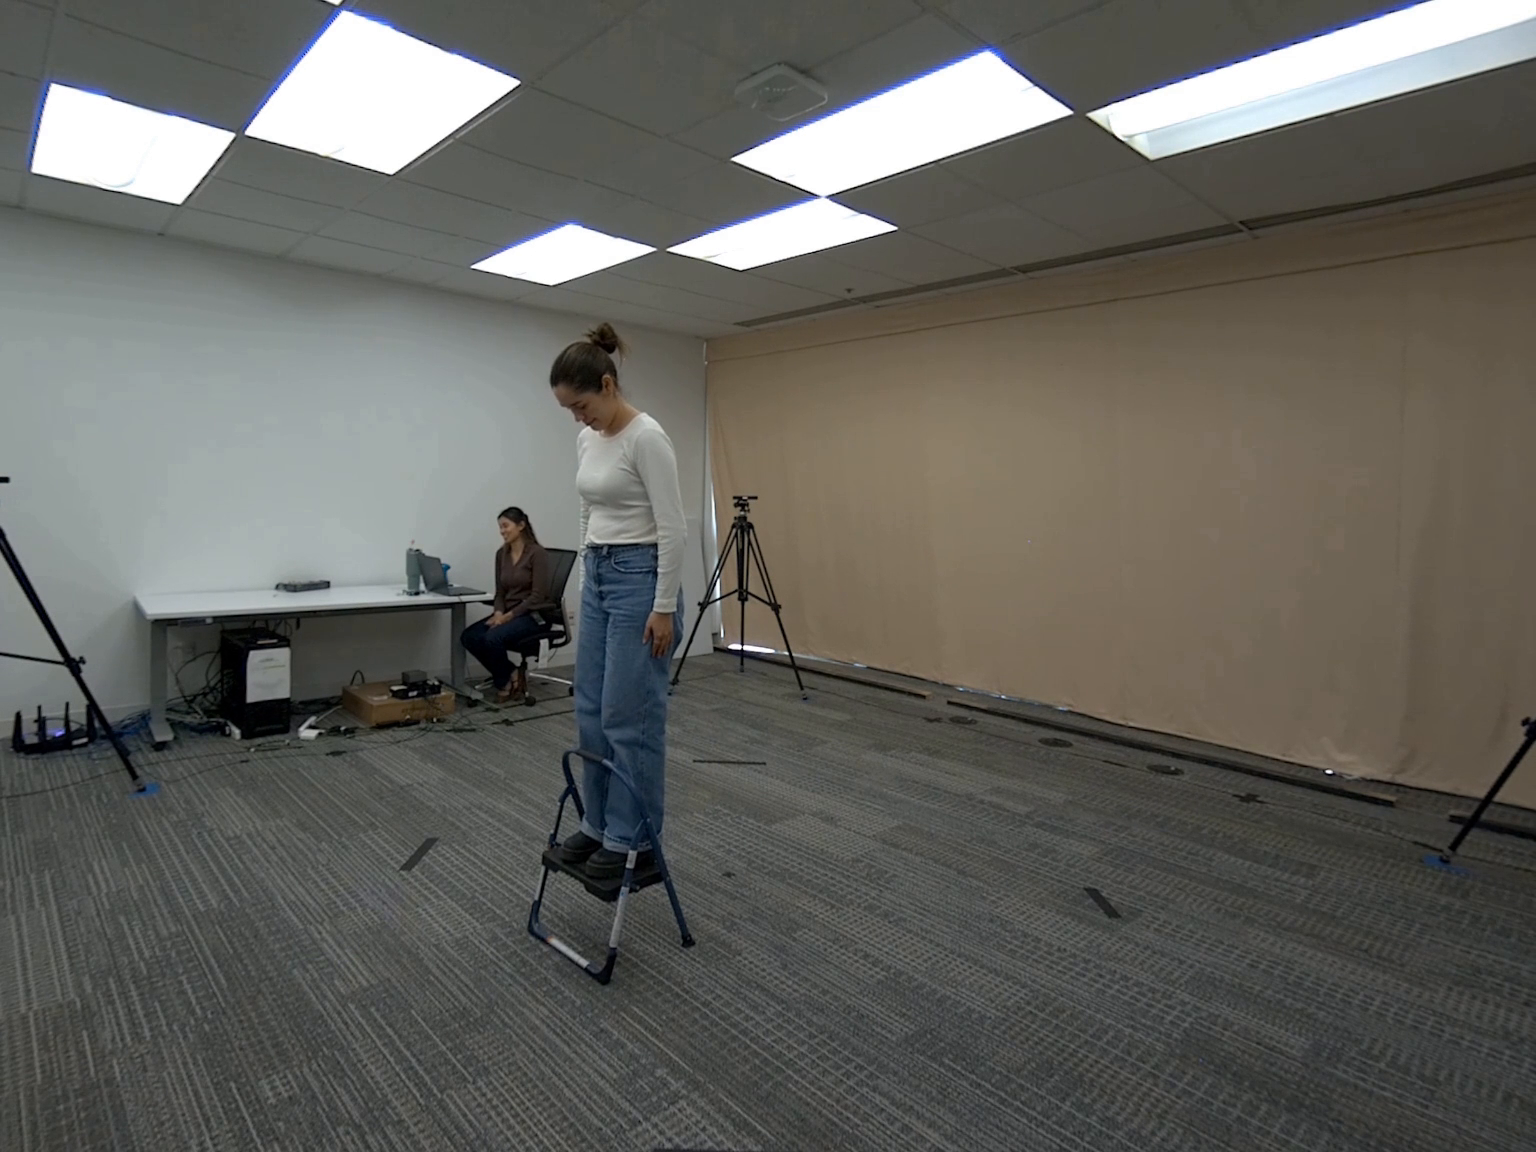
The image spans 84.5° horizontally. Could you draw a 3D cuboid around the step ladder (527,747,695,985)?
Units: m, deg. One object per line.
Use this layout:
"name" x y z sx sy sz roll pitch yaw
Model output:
"step ladder" -0.501 0.839 2.626 0.441 0.604 0.341 4 5 43
